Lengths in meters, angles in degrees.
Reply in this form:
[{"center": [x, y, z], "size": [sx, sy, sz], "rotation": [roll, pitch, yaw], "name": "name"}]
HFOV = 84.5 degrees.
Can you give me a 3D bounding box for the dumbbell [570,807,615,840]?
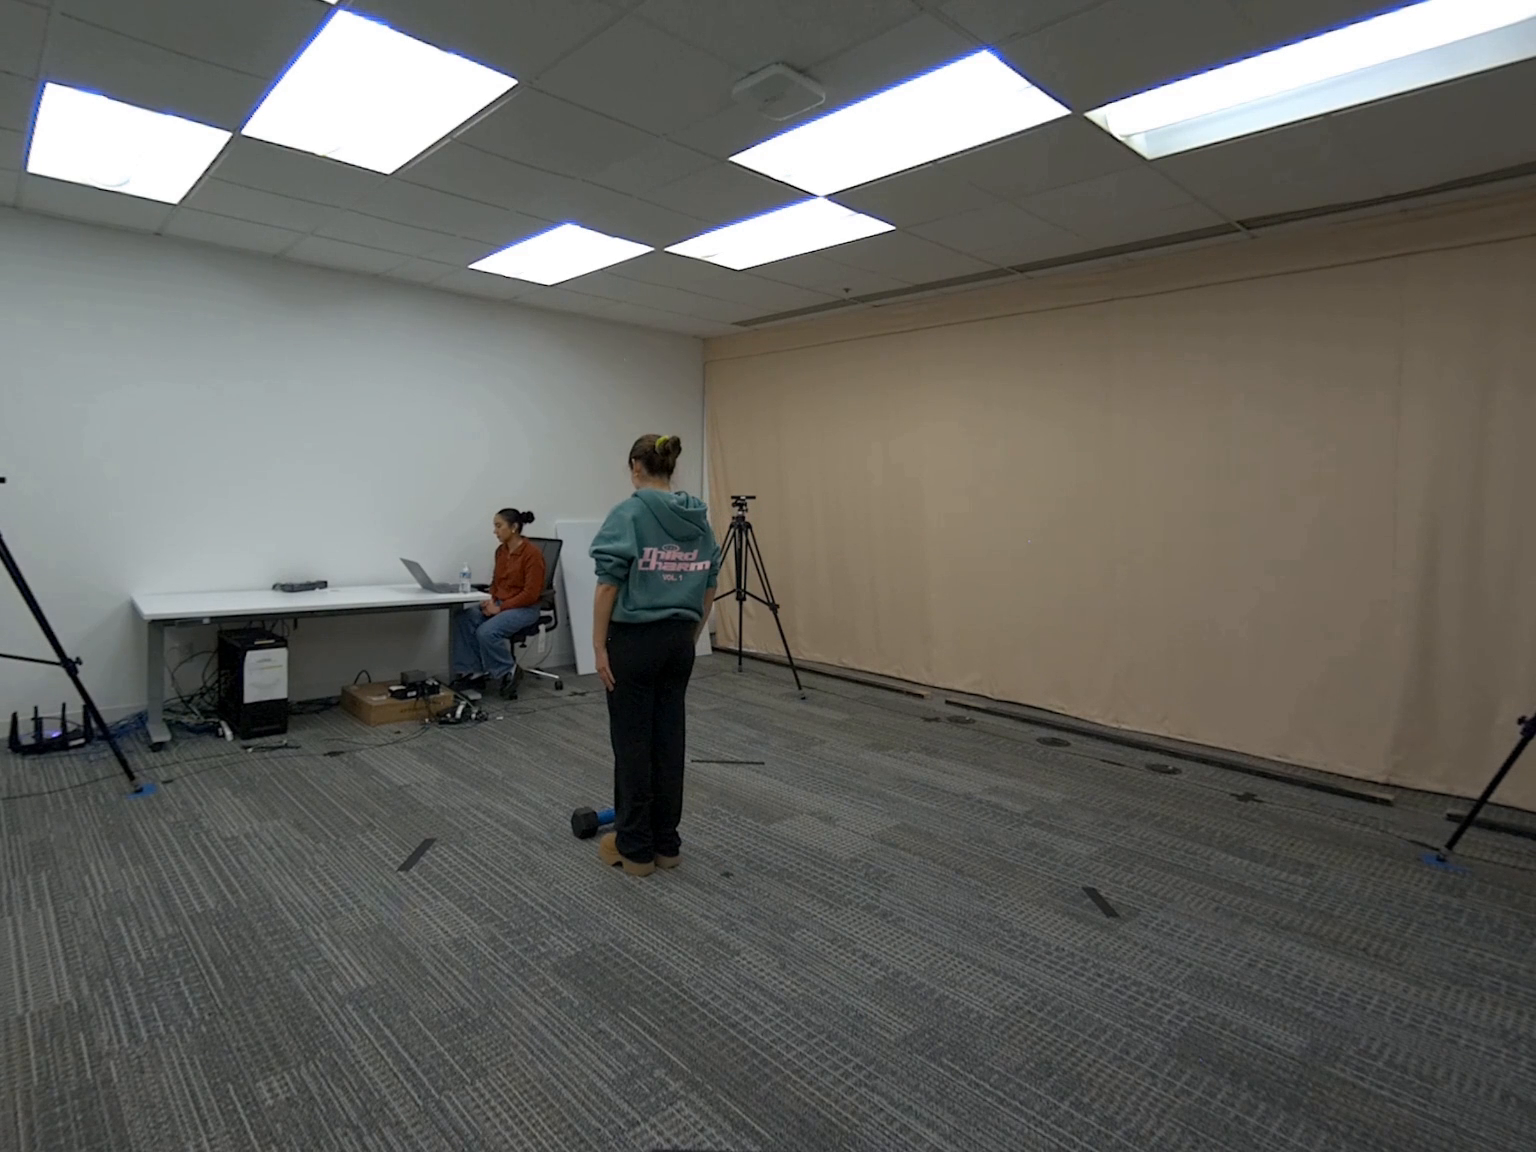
[{"center": [-0.678, 1.003, 3.495], "size": [0.287, 0.125, 0.109], "rotation": [-3, -25, -40], "name": "dumbbell"}]
